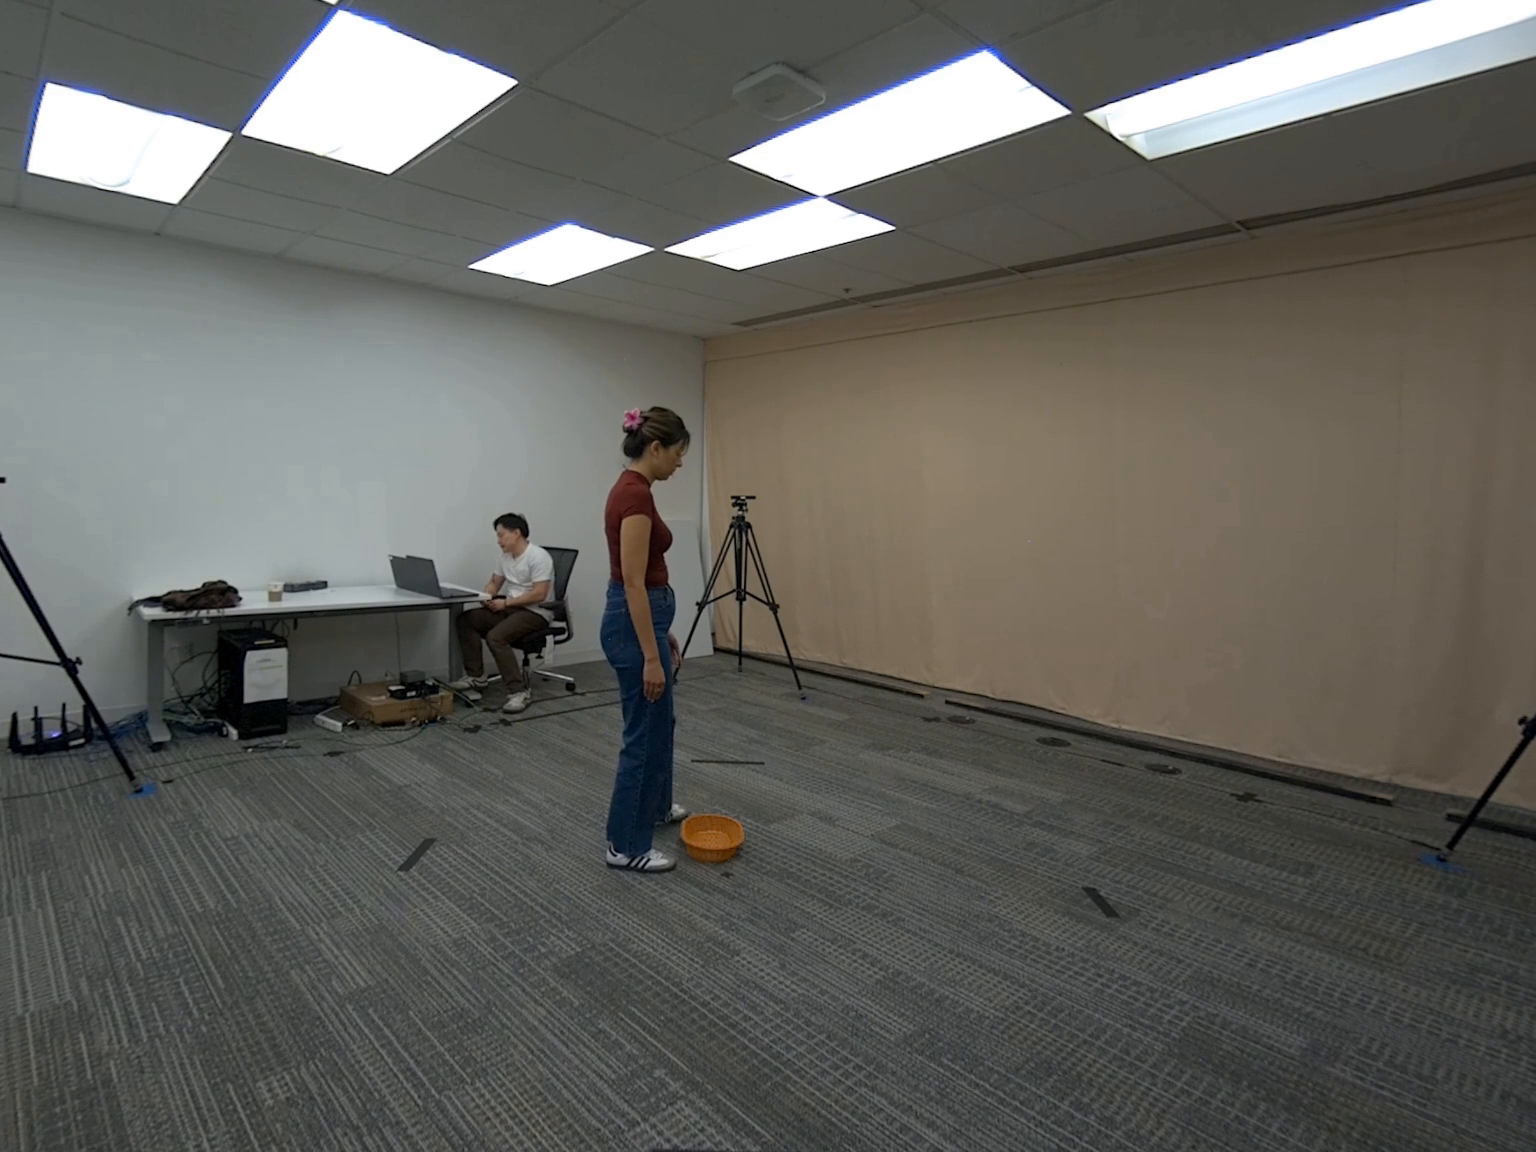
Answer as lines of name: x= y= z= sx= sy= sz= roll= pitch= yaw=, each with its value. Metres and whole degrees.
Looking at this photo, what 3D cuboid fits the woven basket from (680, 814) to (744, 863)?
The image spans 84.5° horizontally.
woven basket: x=-0.230 y=1.045 z=3.335 sx=0.252 sy=0.073 sz=0.352 roll=2 pitch=5 yaw=-4
